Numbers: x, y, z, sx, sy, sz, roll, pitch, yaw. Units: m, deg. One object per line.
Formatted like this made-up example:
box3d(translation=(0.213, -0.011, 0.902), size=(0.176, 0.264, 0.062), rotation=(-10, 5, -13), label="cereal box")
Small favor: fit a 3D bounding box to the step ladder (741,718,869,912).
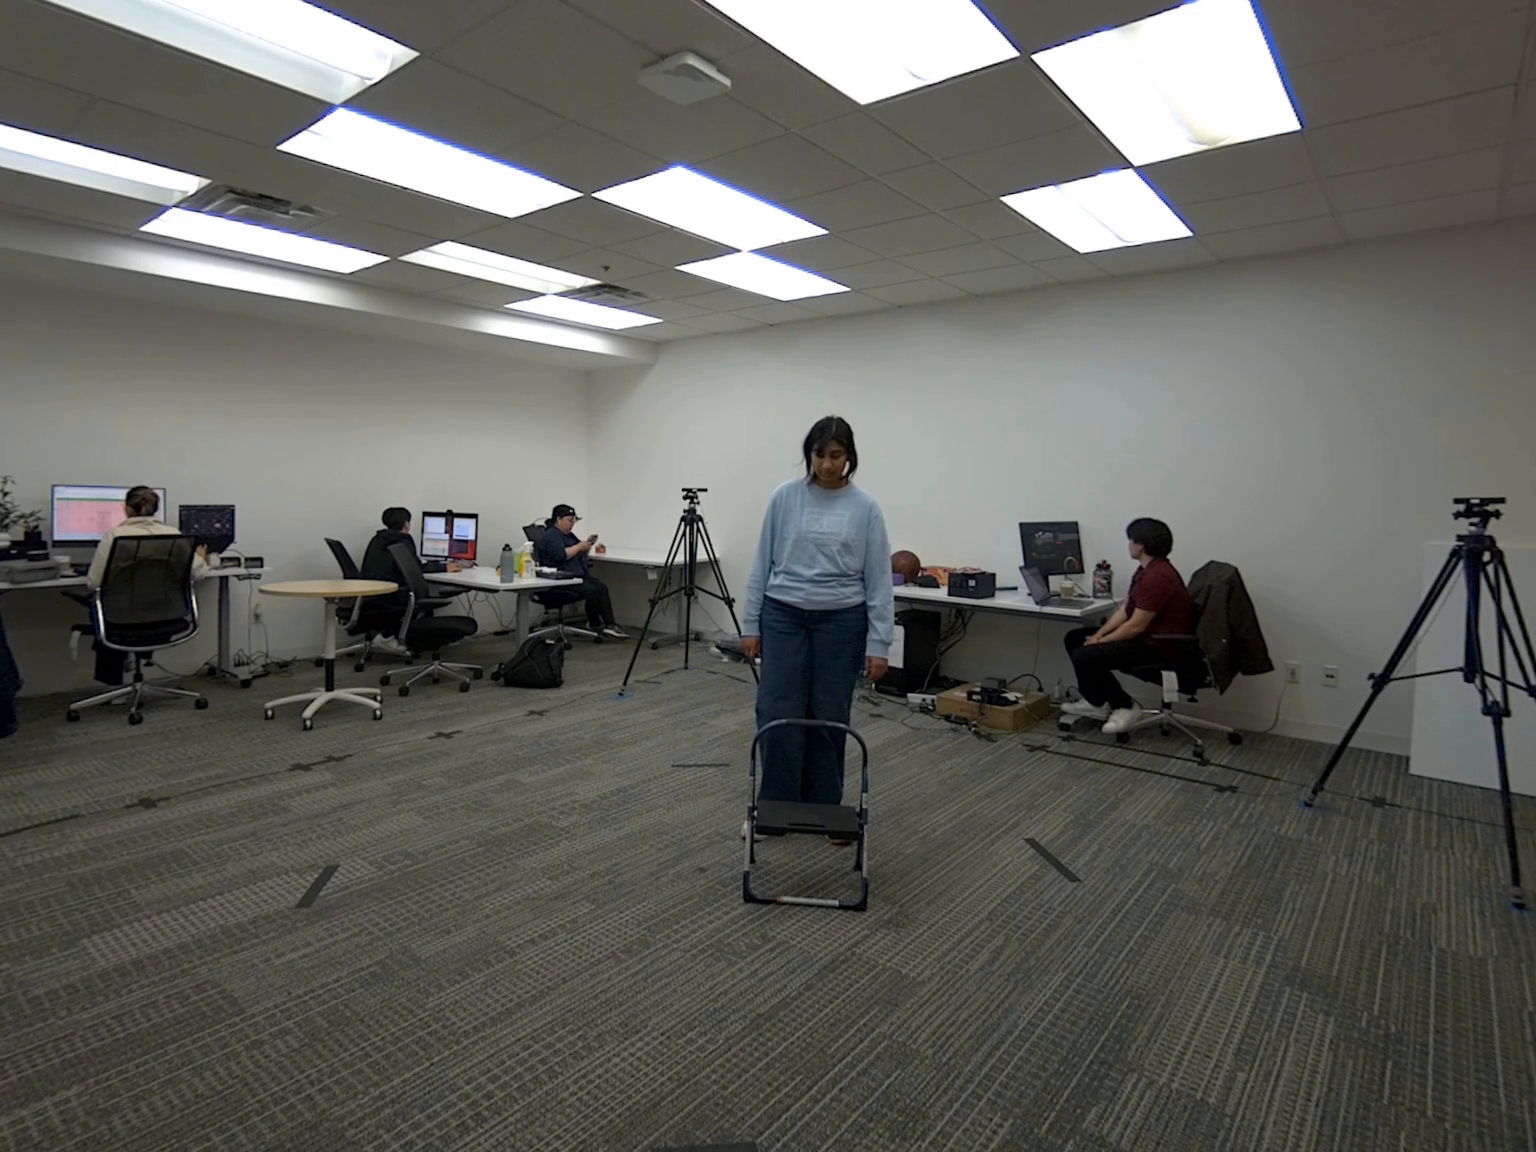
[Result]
box3d(translation=(0.131, 0.788, 2.996), size=(0.433, 0.605, 0.348), rotation=(1, 2, 4), label="step ladder")
